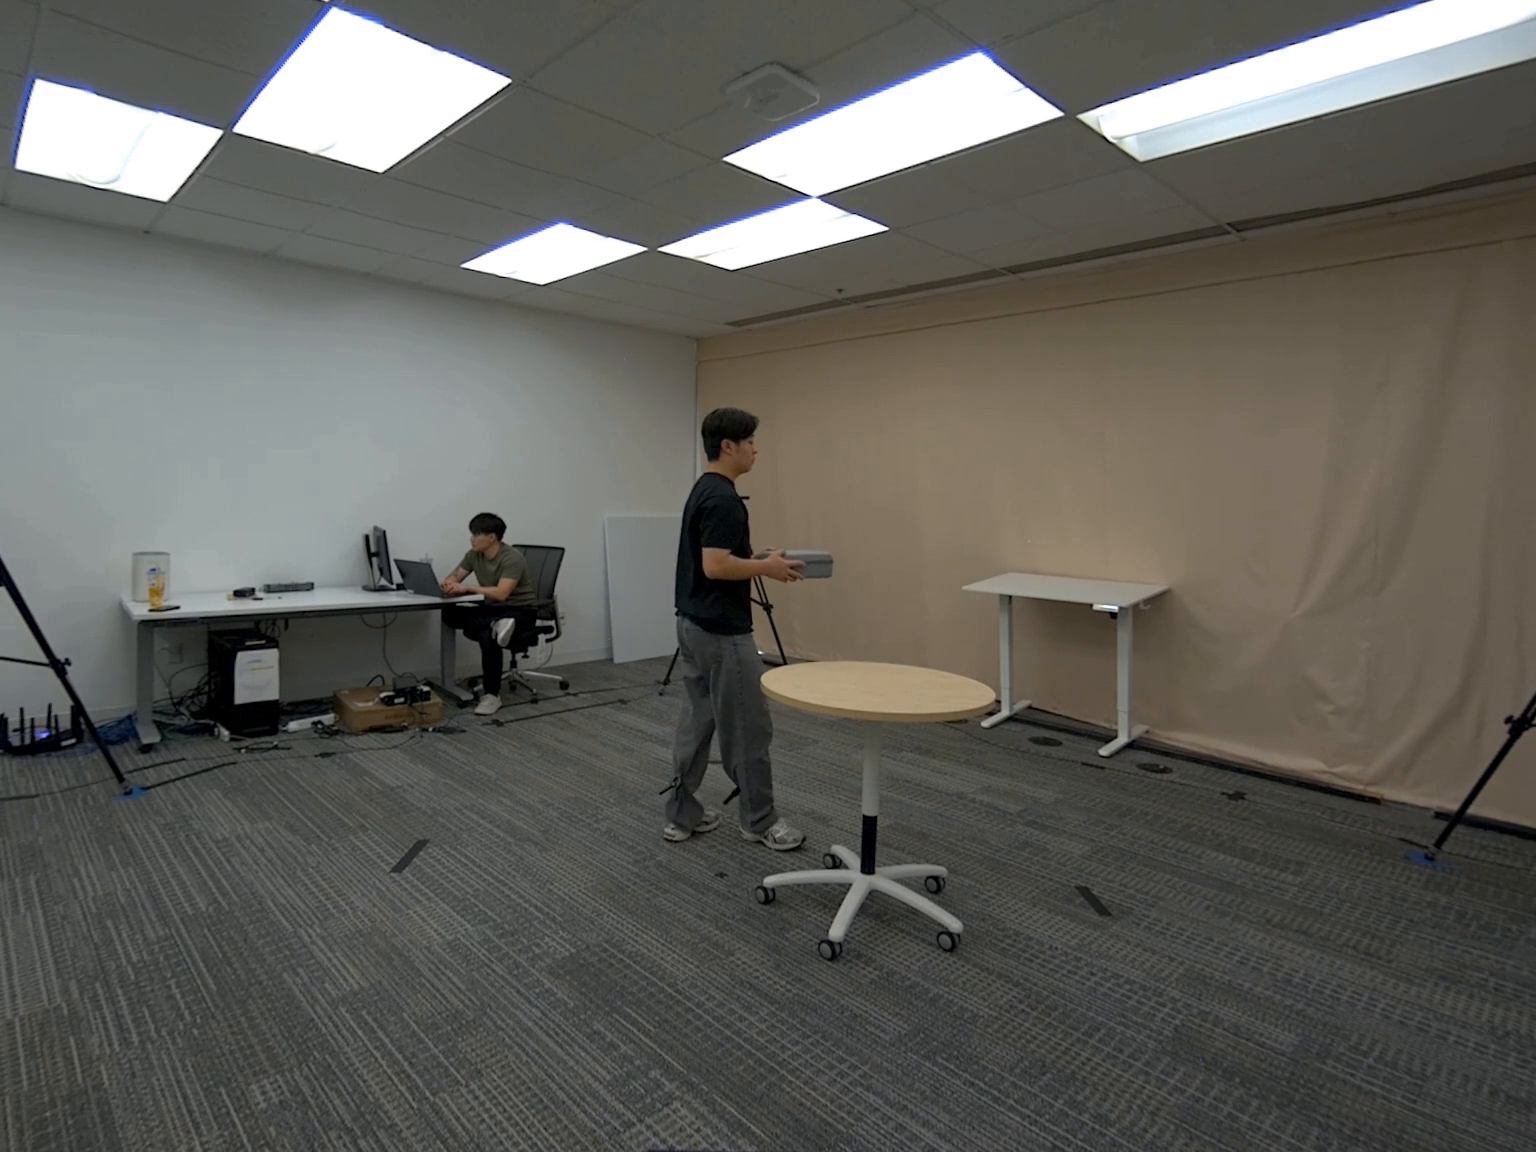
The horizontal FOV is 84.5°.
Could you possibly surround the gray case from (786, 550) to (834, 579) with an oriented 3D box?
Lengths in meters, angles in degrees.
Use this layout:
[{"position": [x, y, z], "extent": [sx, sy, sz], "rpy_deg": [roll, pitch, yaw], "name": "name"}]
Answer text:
[{"position": [0.097, -0.052, 3.455], "extent": [0.286, 0.102, 0.265], "rpy_deg": [-2, 6, -6], "name": "gray case"}]
